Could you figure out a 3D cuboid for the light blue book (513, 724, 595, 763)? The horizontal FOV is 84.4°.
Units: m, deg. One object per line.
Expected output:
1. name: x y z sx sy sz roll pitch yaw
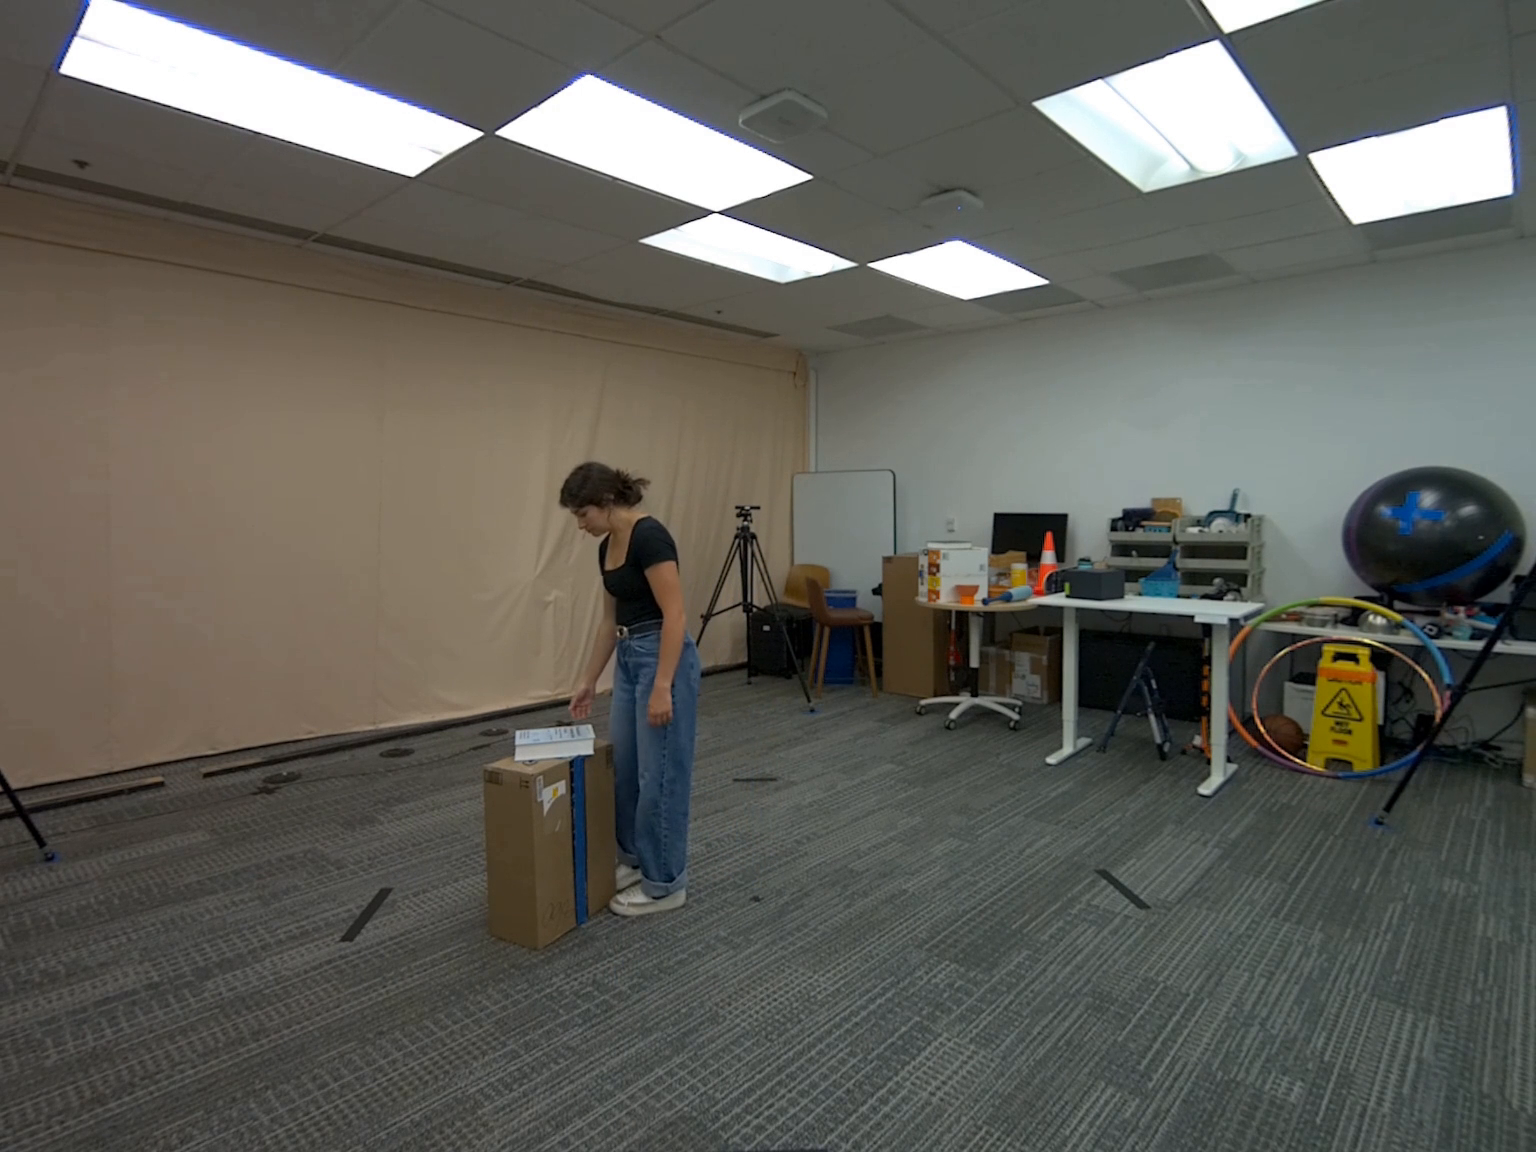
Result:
1. light blue book: -0.724 0.566 2.890 0.257 0.059 0.194 -3 5 -13
